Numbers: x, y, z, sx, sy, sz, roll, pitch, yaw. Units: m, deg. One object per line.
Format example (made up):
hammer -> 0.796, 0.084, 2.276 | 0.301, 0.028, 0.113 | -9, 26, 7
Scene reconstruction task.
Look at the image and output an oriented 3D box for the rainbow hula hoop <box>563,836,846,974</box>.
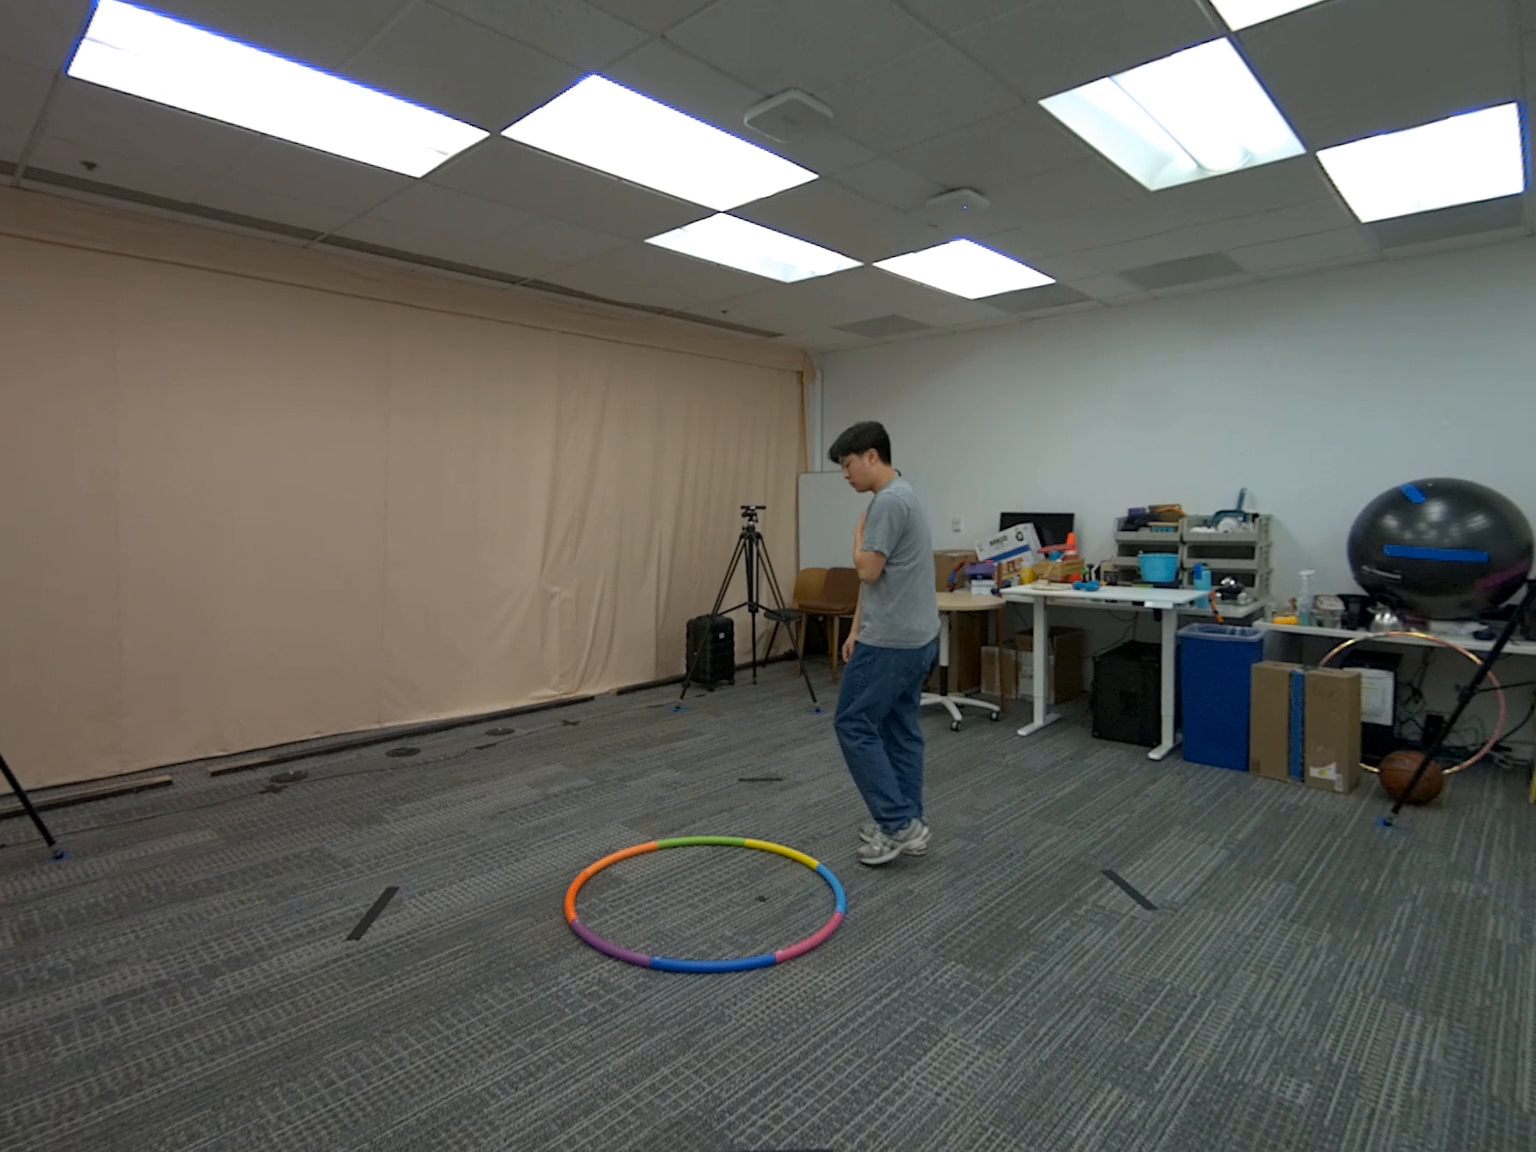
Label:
rainbow hula hoop -> -0.223, 1.115, 2.992 | 0.978, 0.035, 0.982 | -1, 5, -2
